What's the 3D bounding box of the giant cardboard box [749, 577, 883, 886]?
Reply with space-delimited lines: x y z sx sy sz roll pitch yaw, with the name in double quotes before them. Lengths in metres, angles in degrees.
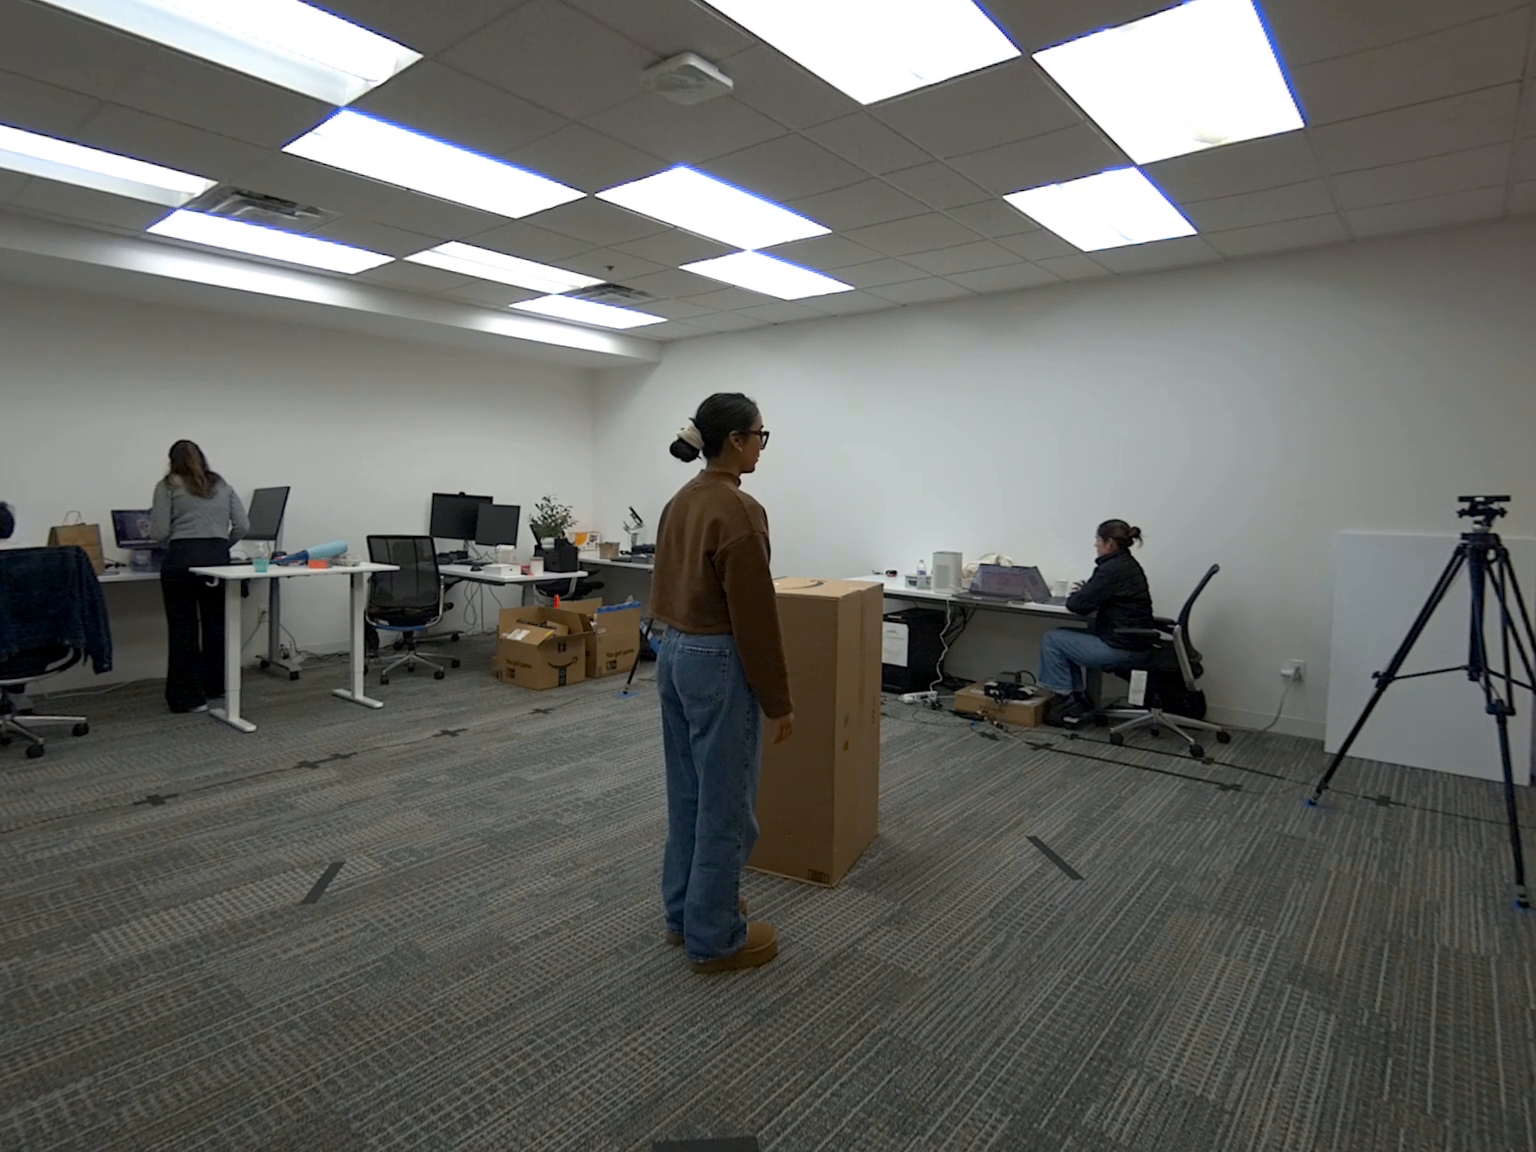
"giant cardboard box" 0.149 0.545 3.279 0.437 1.023 0.564 3 4 25
